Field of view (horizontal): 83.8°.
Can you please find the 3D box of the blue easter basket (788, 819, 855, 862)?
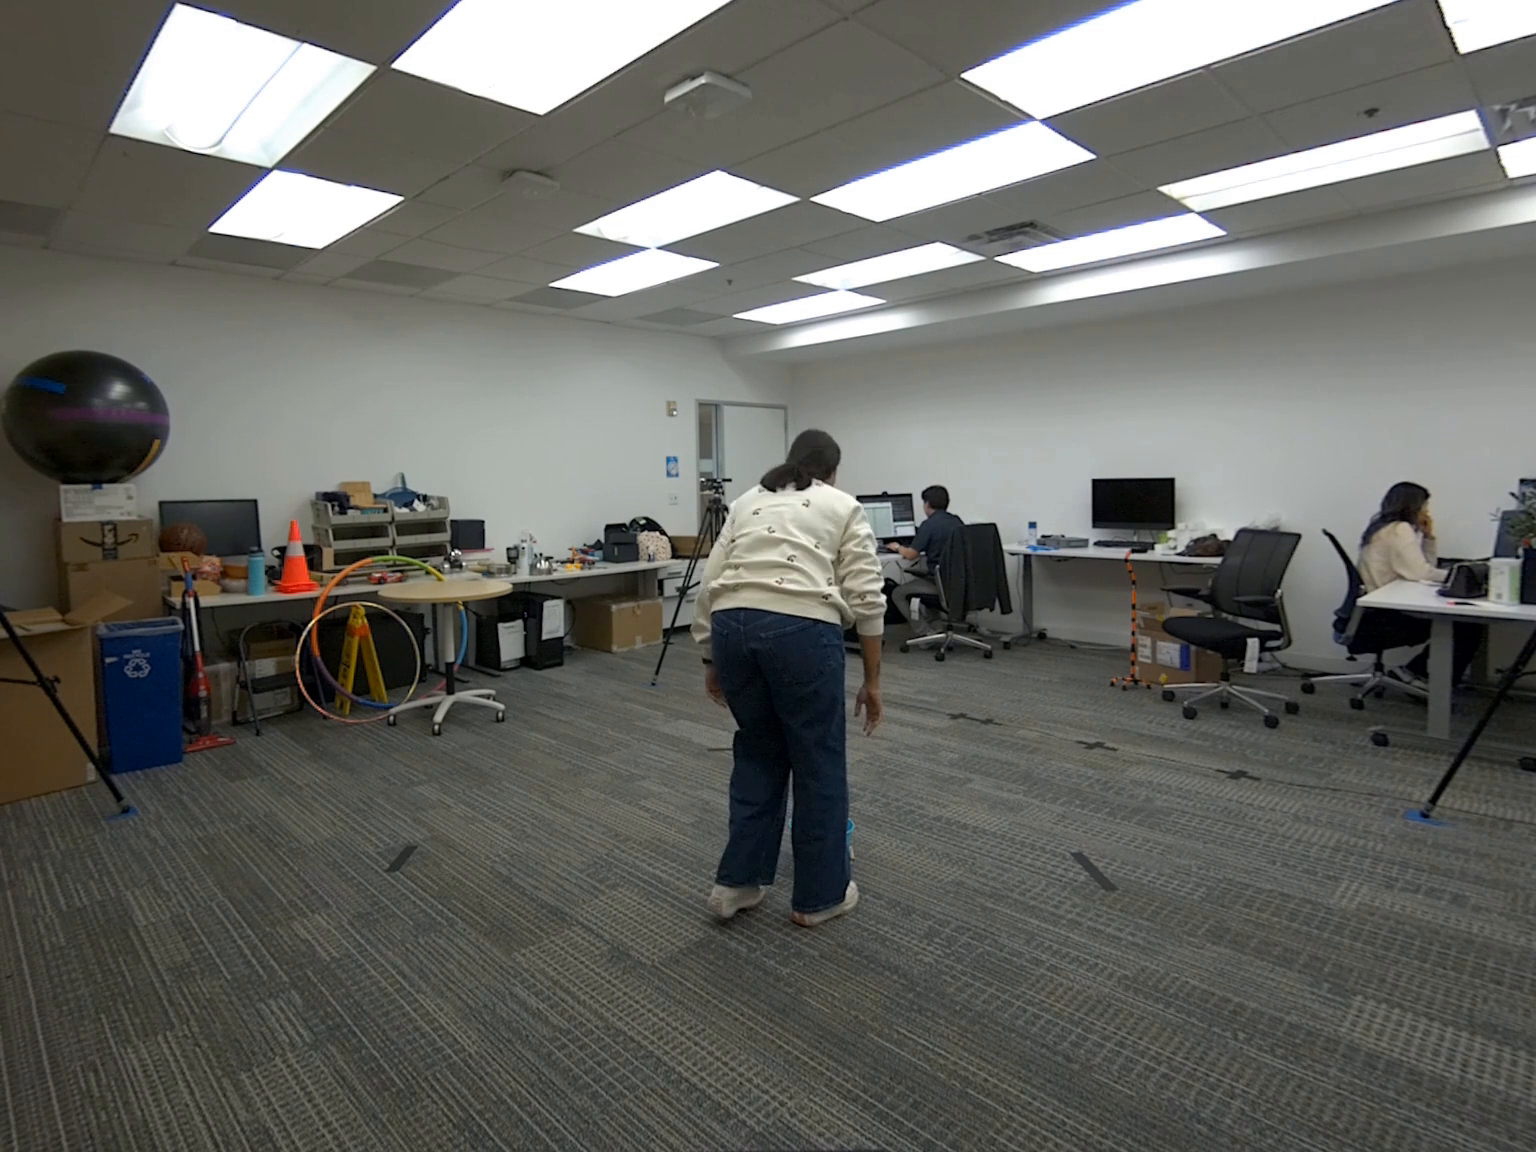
[{"bbox_3d":[0.202,0.964,3.075,0.243,0.155,0.245,-1,5,-2],"label":"blue easter basket"}]
